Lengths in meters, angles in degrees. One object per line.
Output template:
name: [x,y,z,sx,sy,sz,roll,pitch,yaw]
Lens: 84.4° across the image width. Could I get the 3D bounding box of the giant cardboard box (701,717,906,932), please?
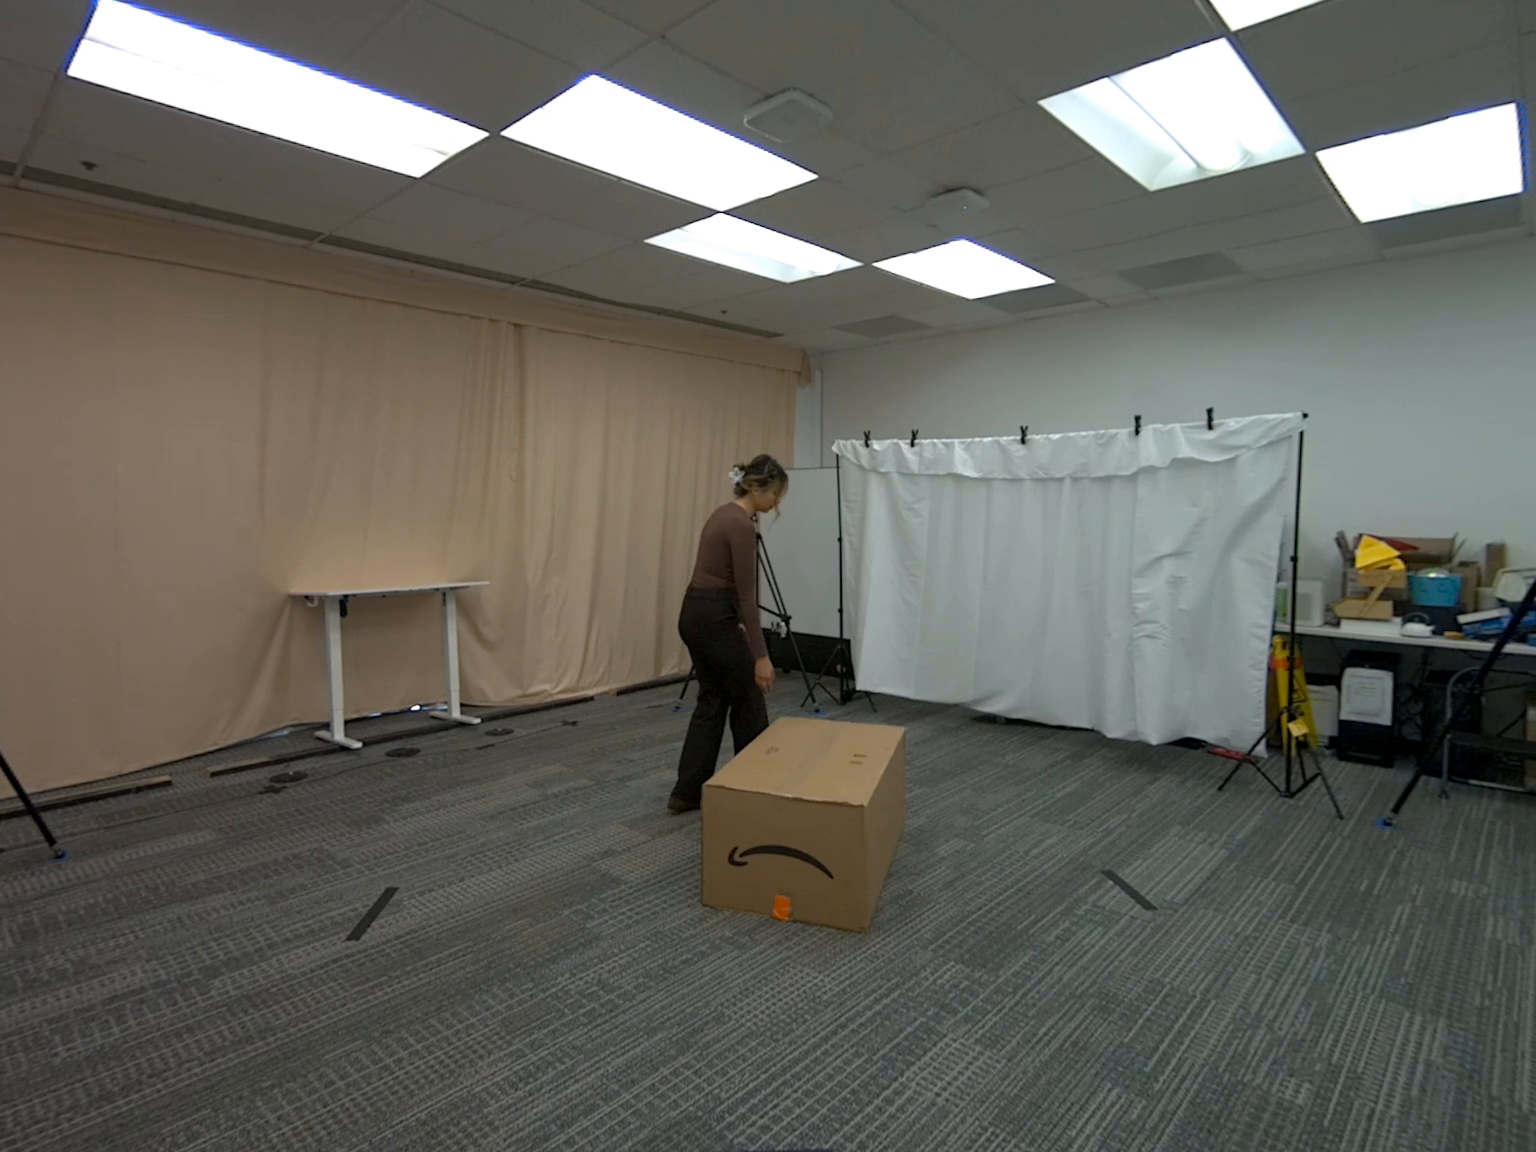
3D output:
giant cardboard box: [0.190,0.904,3.301,0.595,0.446,1.009,0,4,17]
